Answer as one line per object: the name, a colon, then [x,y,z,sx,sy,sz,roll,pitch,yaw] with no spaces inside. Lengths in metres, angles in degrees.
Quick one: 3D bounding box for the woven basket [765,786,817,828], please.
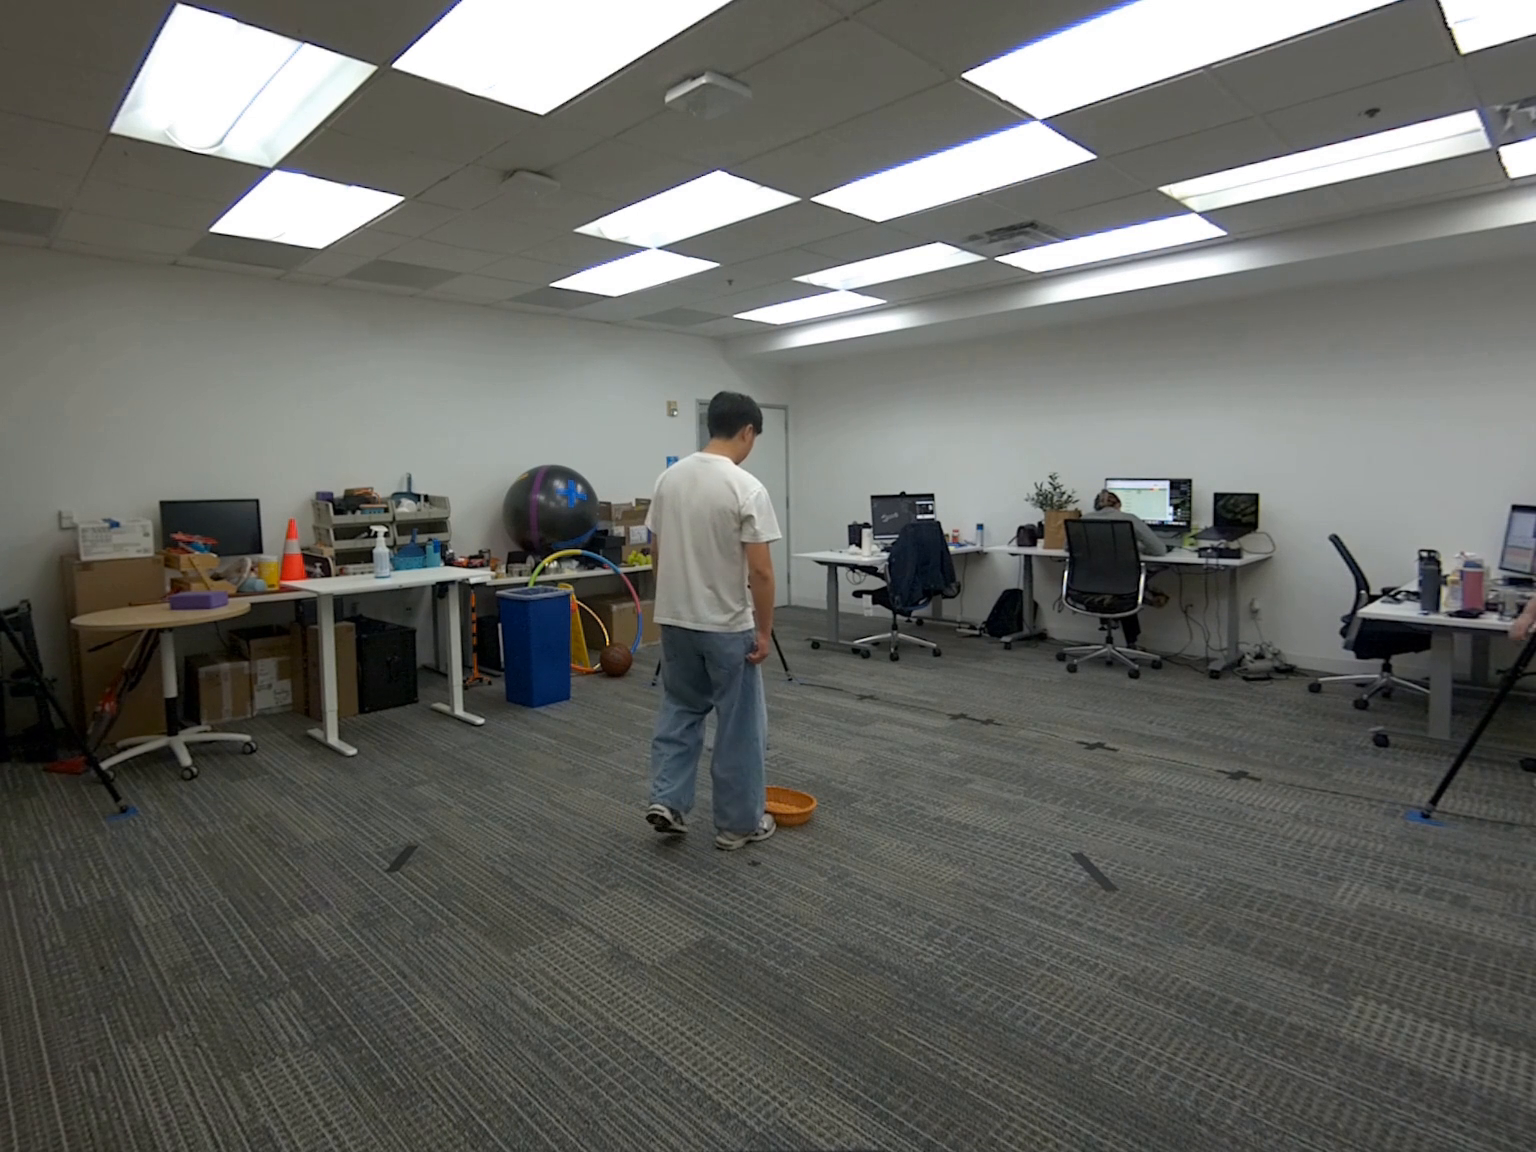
woven basket: [0.034,0.954,3.550,0.359,0.073,0.247,3,7,28]
